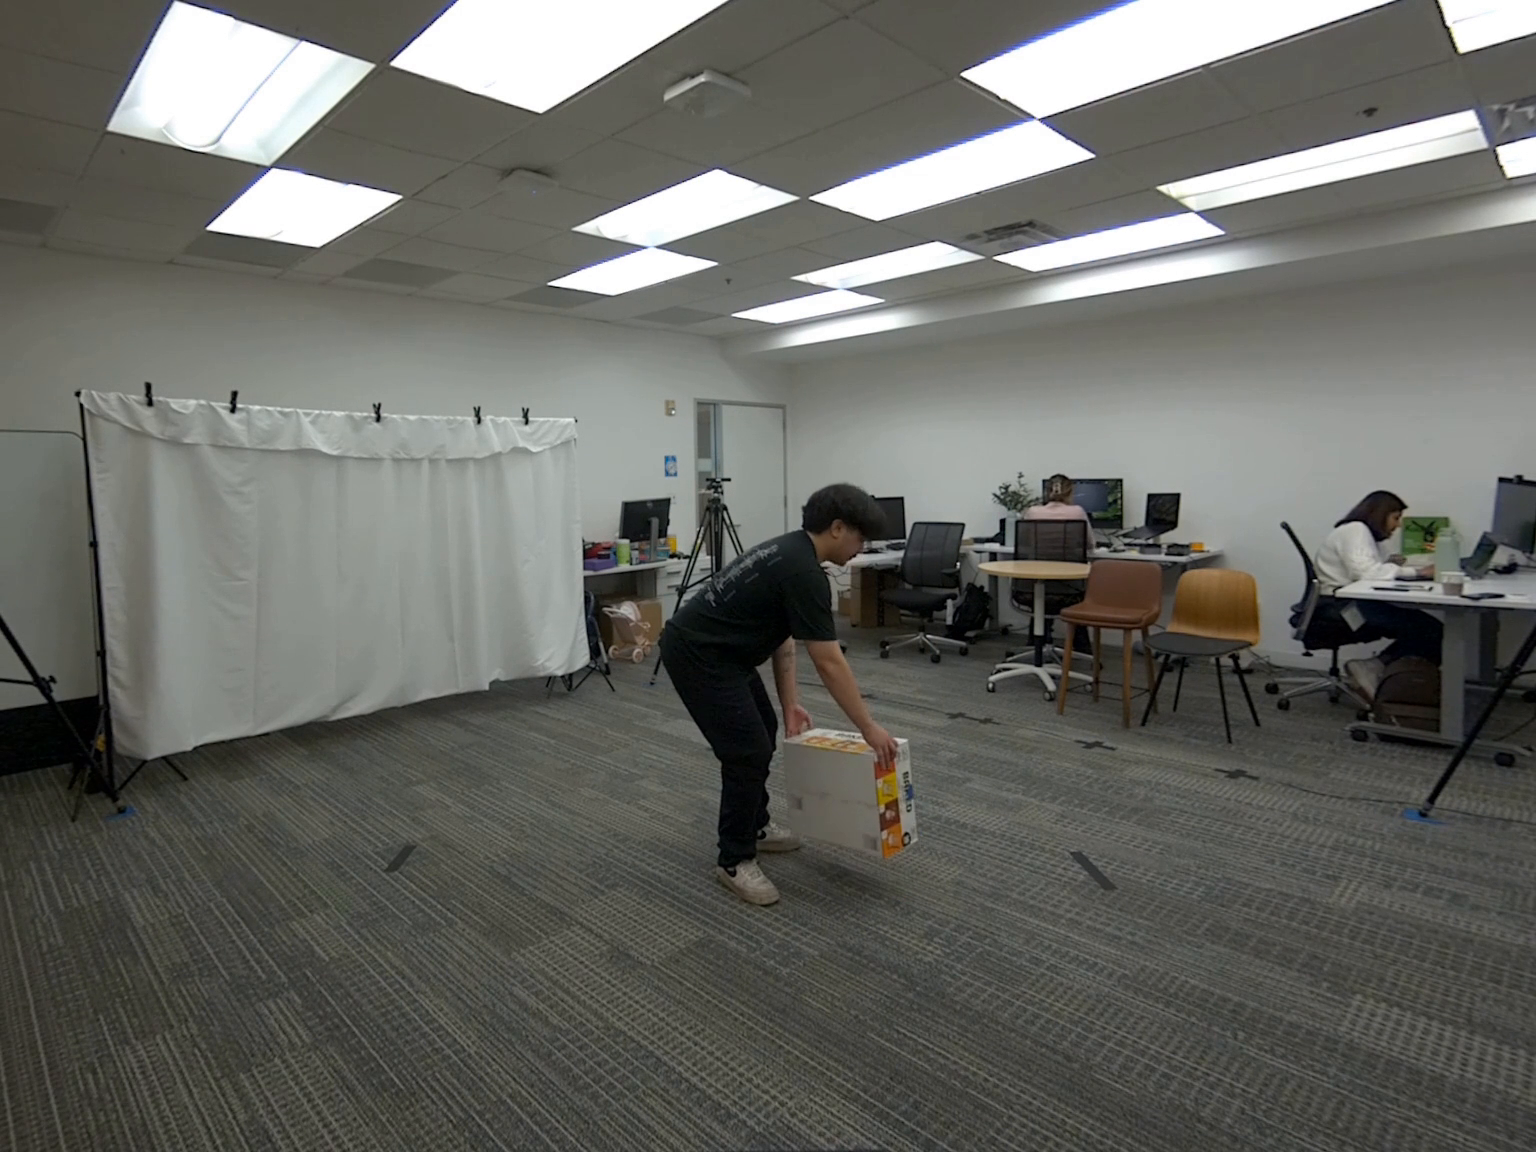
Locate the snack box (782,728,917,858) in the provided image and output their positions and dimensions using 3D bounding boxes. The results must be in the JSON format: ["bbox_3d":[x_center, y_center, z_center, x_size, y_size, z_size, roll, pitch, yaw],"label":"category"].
[{"bbox_3d":[0.285,0.741,2.978,0.416,0.340,0.200,-3,1,43],"label":"snack box"}]
